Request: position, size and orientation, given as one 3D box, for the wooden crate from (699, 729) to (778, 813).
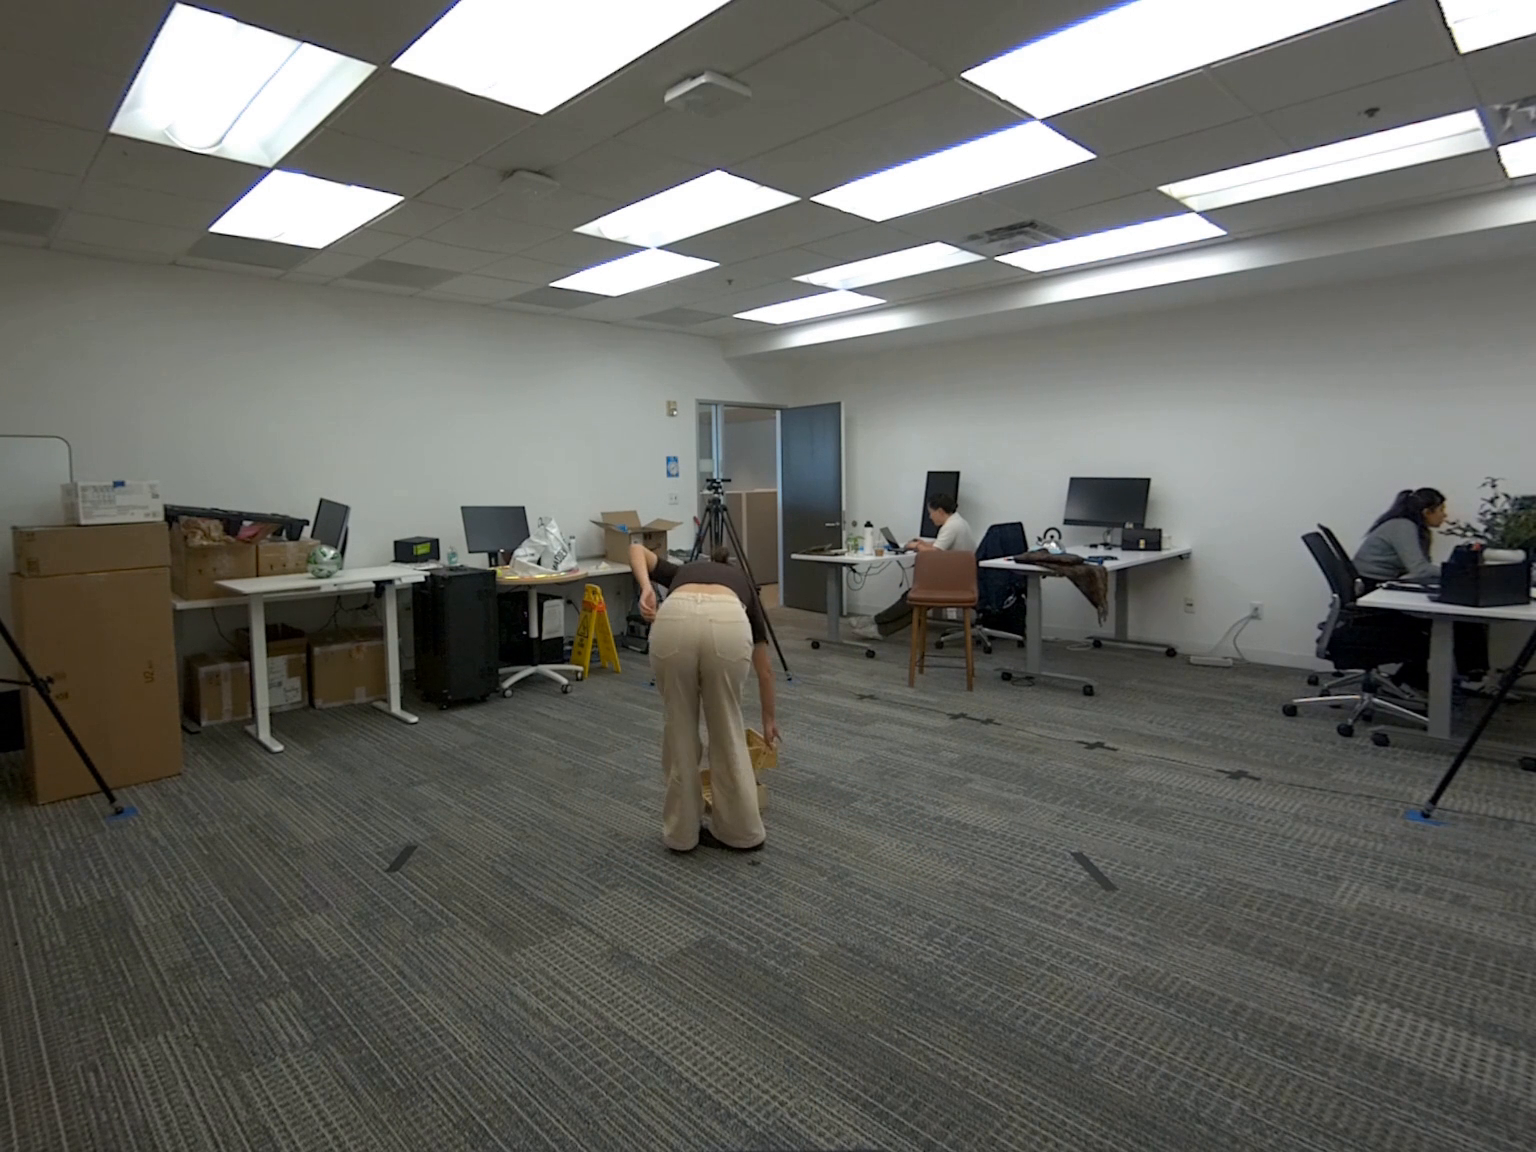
[{"bbox_3d":[-0.159,0.840,3.731,0.296,0.272,0.332,-1,6,-23],"label":"wooden crate"}]
